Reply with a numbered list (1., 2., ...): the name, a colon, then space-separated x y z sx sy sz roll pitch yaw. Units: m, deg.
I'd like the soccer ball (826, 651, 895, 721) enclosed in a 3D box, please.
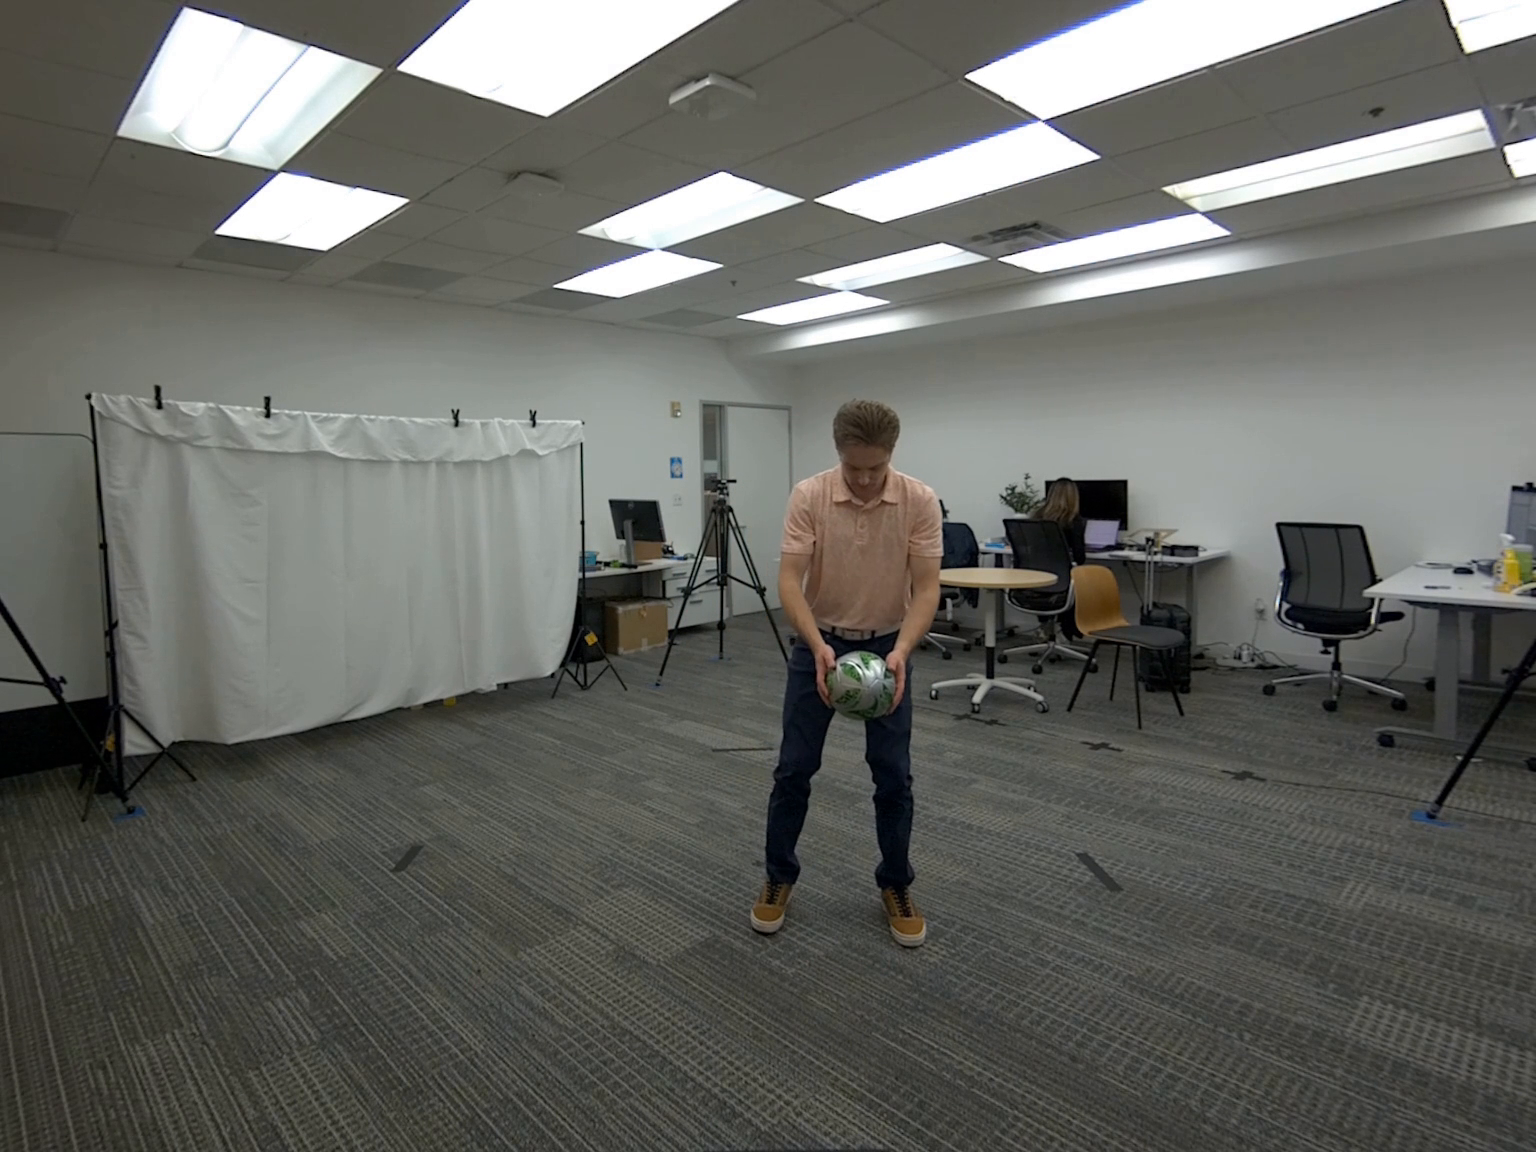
1. soccer ball: 0.241 0.298 2.317 0.187 0.187 0.188 -1 5 -2
